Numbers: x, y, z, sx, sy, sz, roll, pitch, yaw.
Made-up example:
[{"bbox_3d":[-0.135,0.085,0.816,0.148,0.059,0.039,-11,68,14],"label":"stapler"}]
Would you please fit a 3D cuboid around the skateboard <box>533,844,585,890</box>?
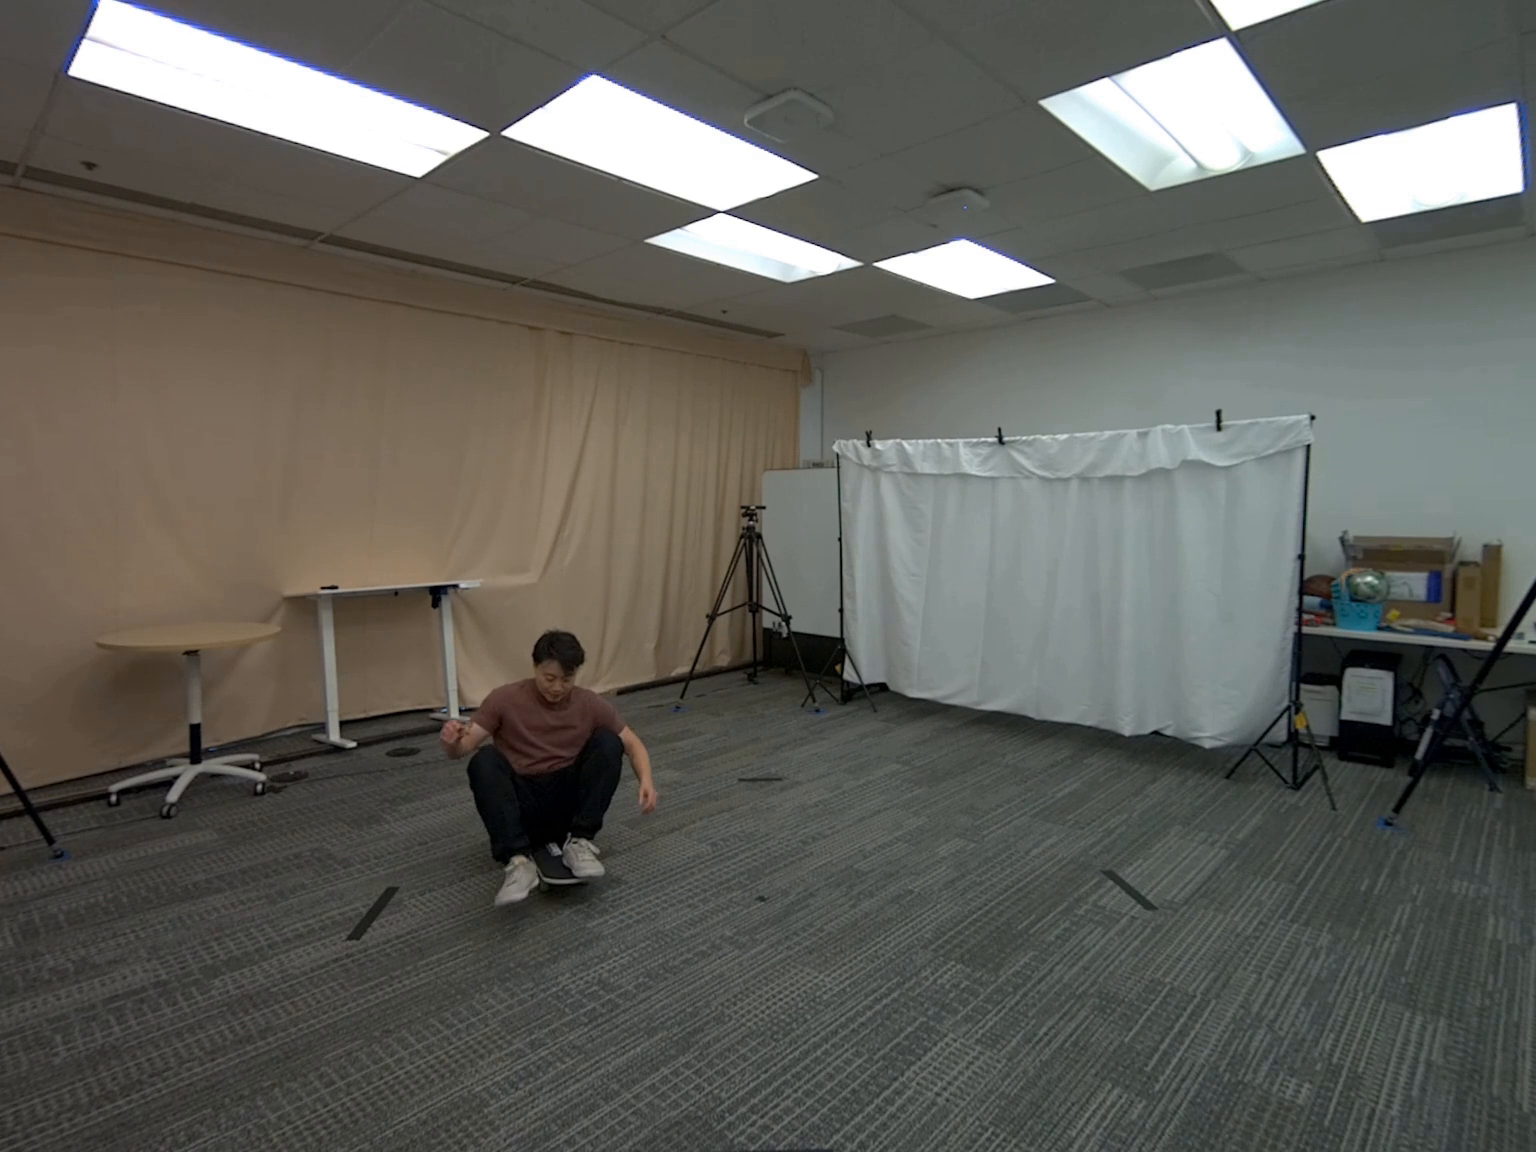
[{"bbox_3d":[-0.822,1.069,3.254,0.189,0.110,0.806,-4,5,-28],"label":"skateboard"}]
